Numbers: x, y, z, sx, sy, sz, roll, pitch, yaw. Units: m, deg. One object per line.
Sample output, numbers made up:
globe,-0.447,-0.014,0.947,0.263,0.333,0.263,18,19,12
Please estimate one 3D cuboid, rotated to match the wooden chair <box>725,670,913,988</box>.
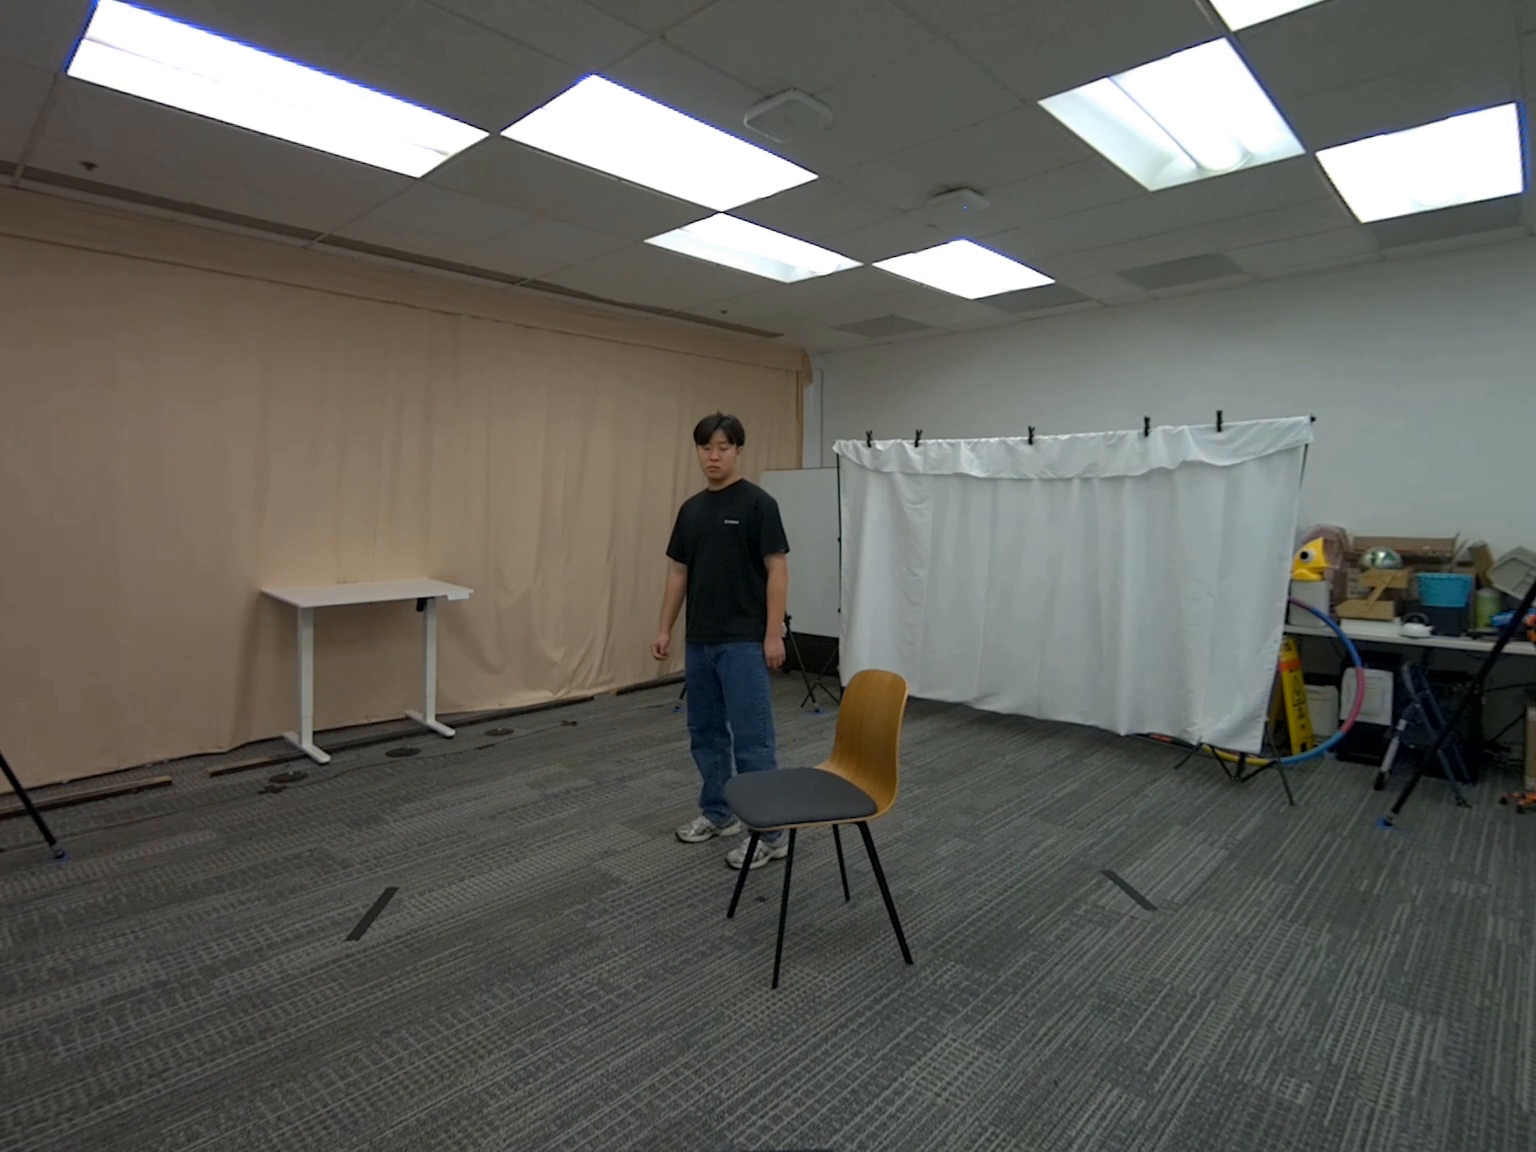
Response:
wooden chair,0.150,0.742,2.674,0.513,0.876,0.488,3,2,-19
